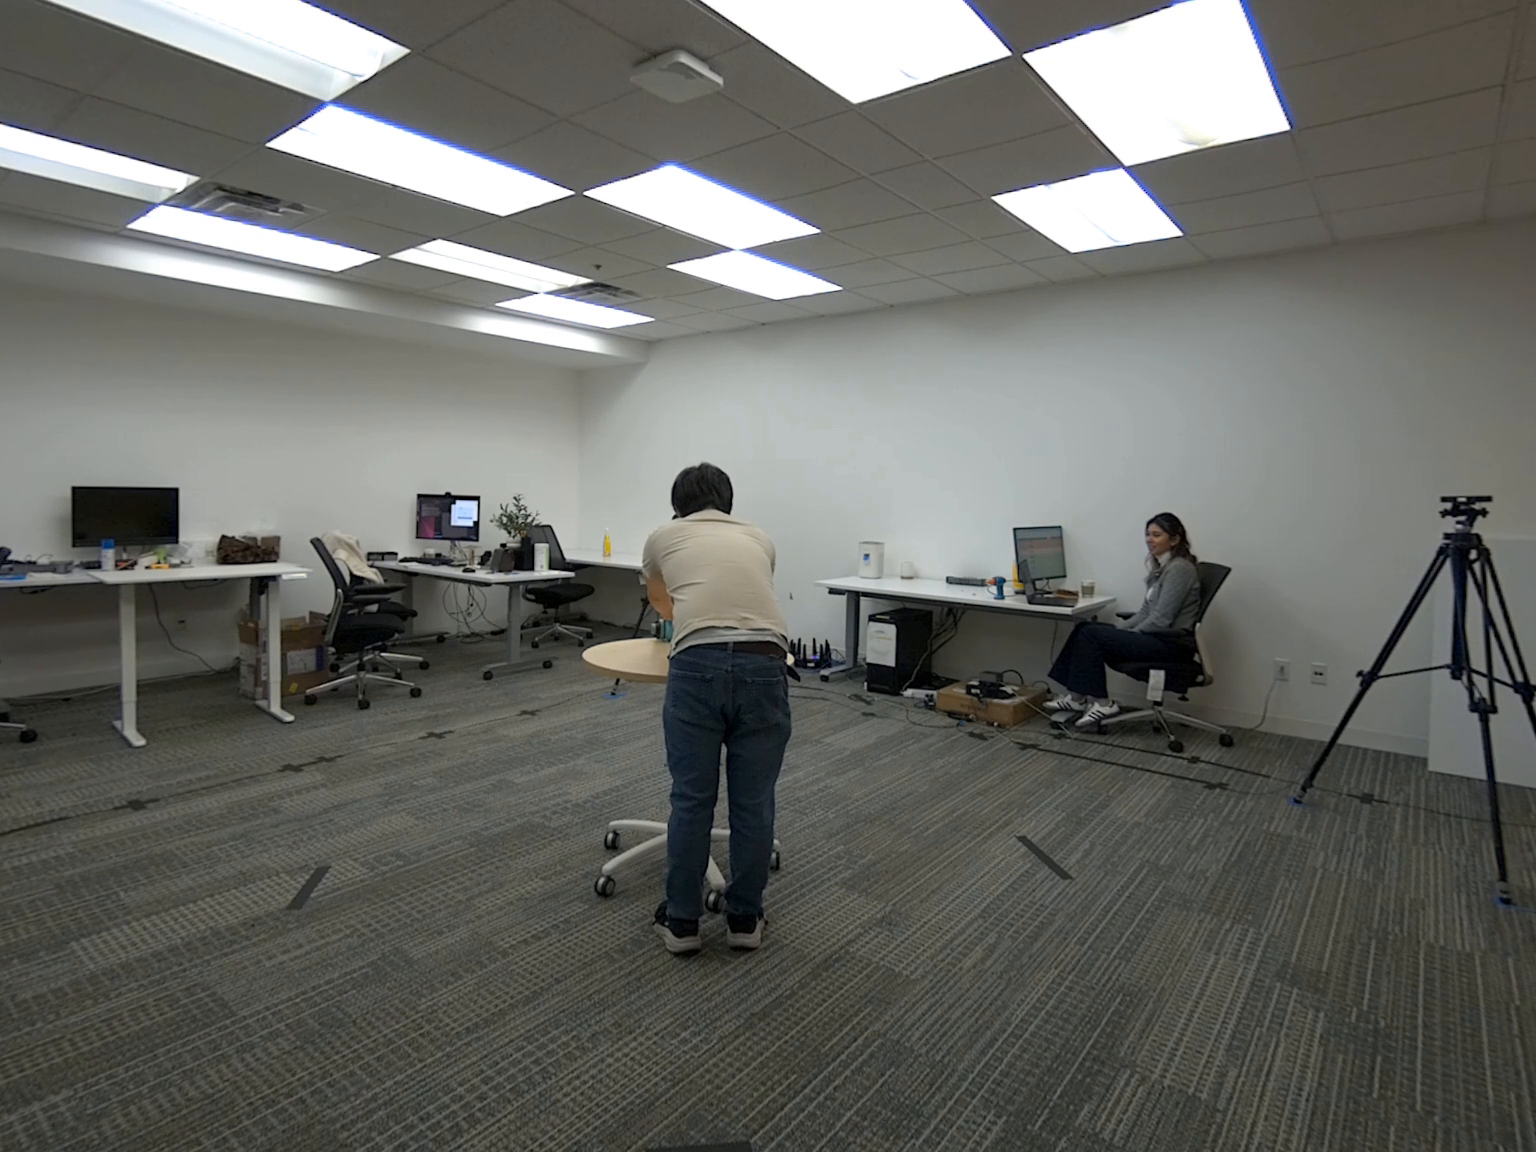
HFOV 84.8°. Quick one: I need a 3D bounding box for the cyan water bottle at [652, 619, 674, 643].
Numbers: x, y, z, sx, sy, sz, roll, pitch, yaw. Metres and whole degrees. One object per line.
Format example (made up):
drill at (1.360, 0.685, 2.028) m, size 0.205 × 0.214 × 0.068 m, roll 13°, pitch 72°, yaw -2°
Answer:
cyan water bottle at (-0.337, 0.216, 3.405) m, size 0.282 × 0.092 × 0.093 m, roll 0°, pitch 4°, yaw -5°
